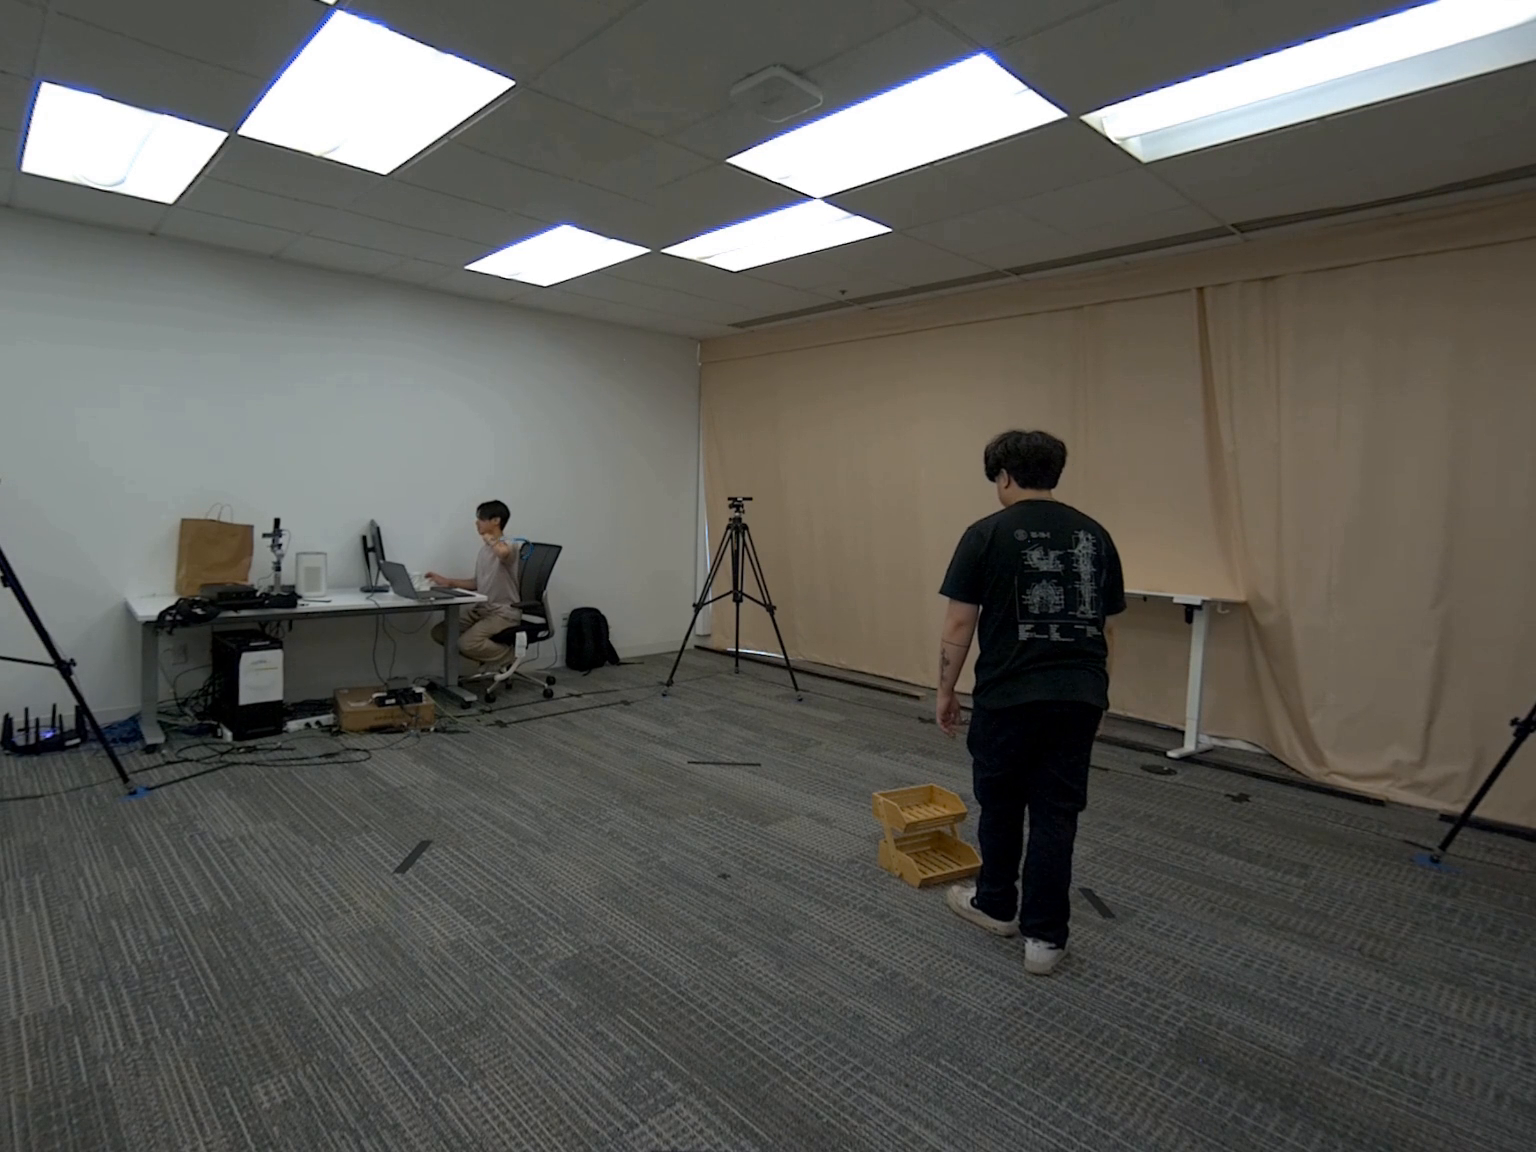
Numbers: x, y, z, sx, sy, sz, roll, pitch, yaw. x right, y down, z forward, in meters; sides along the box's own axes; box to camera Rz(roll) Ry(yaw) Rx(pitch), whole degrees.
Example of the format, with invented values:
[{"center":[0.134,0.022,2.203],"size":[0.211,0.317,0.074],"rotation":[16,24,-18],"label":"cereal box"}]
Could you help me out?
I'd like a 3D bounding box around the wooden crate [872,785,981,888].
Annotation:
[{"center":[0.603,0.986,3.220],"size":[0.318,0.273,0.309],"rotation":[-1,4,-30],"label":"wooden crate"}]
